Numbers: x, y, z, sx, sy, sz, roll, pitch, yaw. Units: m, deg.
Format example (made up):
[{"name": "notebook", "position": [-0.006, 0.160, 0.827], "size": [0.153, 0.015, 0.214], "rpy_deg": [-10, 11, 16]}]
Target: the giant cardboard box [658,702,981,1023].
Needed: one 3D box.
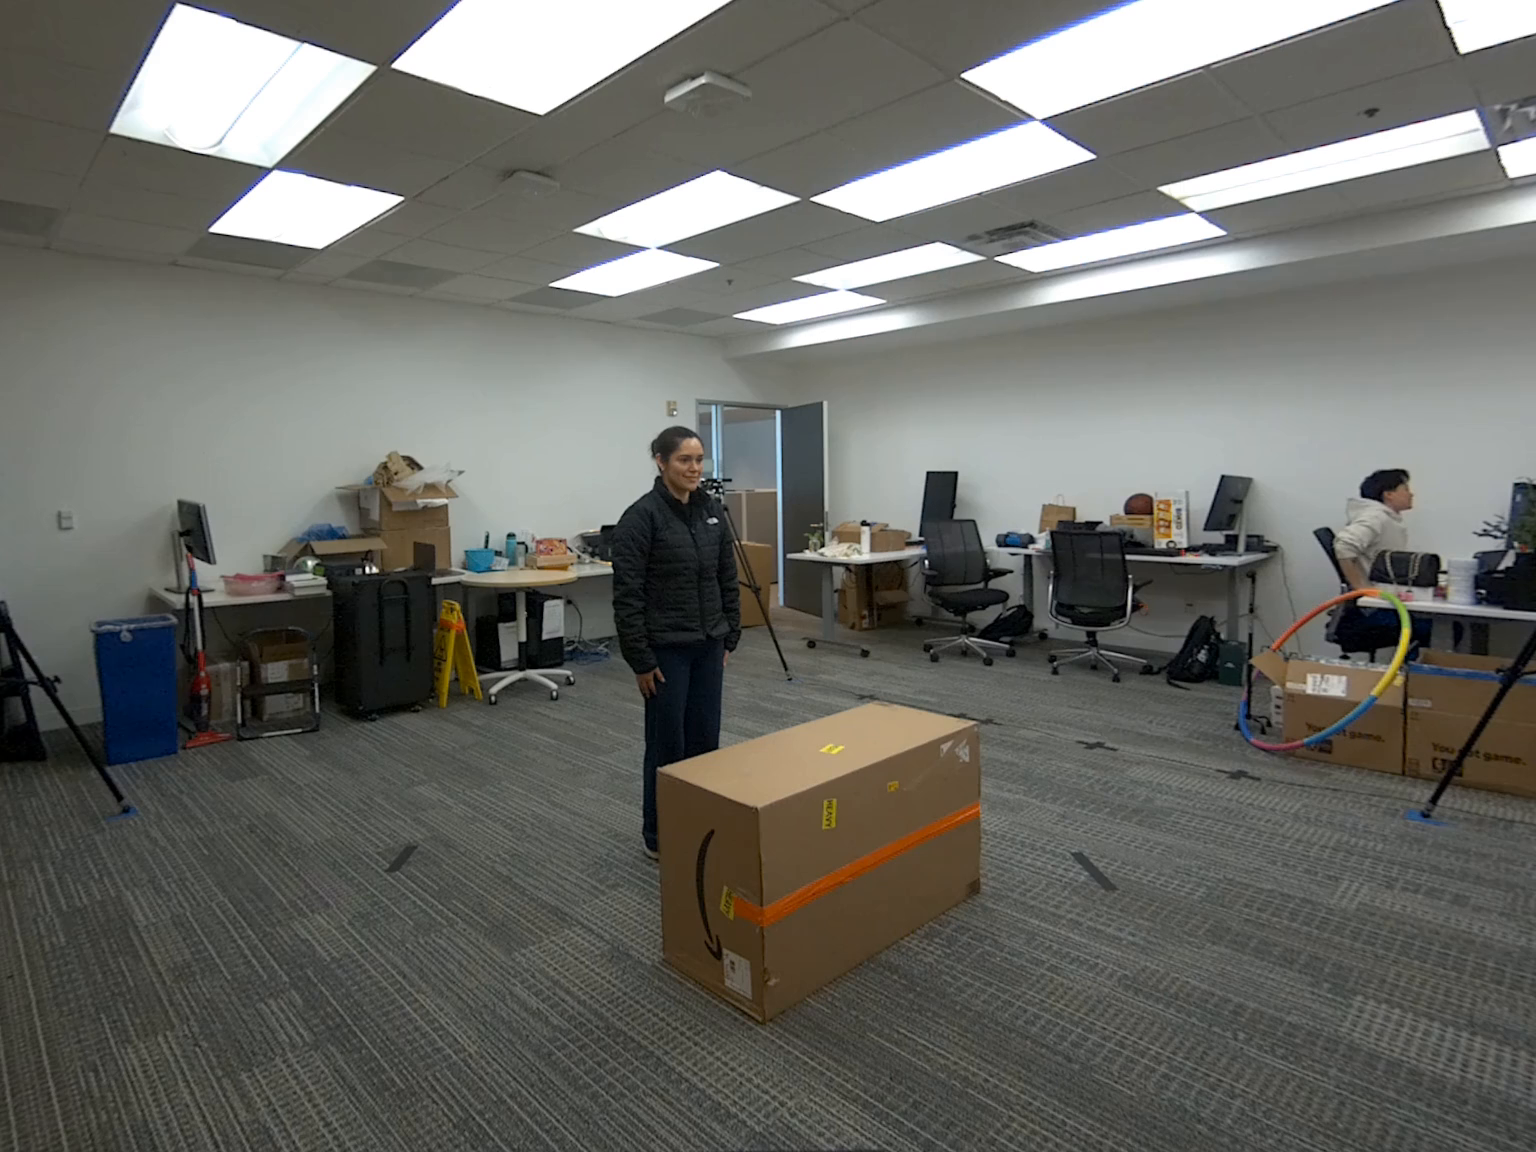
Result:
[{"name": "giant cardboard box", "position": [0.197, 0.809, 2.664], "size": [1.001, 0.581, 0.461], "rpy_deg": [-7, 9, -43]}]
